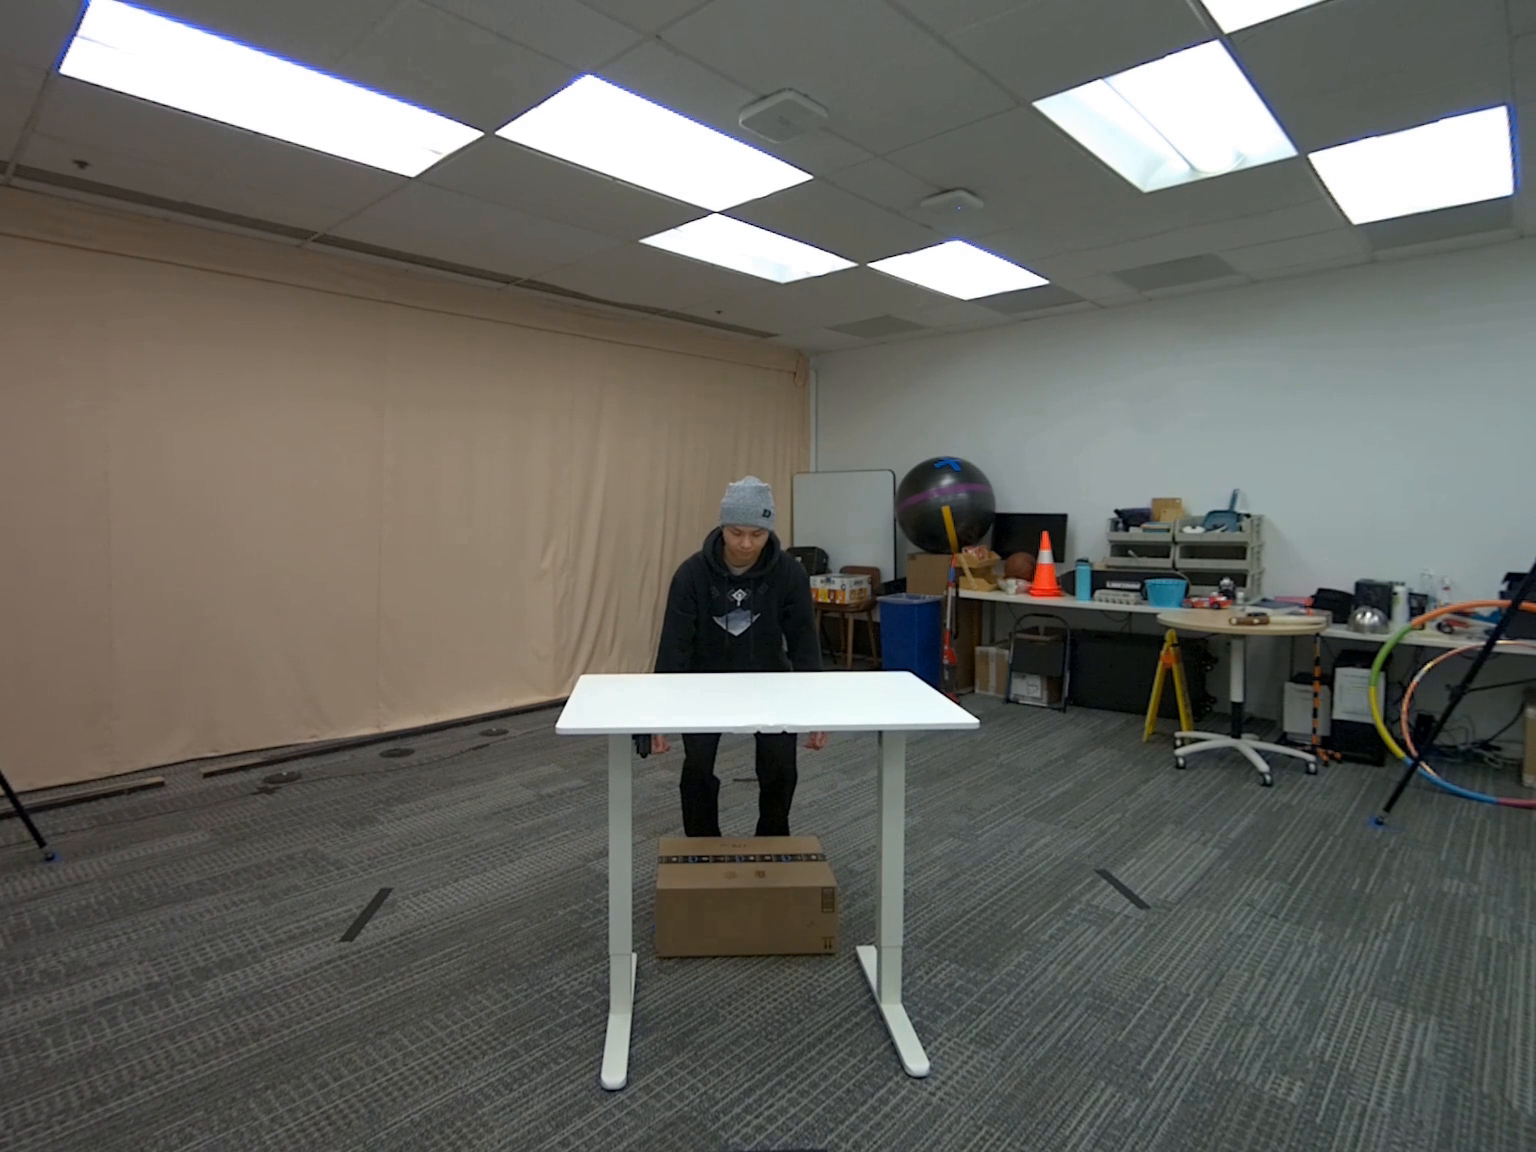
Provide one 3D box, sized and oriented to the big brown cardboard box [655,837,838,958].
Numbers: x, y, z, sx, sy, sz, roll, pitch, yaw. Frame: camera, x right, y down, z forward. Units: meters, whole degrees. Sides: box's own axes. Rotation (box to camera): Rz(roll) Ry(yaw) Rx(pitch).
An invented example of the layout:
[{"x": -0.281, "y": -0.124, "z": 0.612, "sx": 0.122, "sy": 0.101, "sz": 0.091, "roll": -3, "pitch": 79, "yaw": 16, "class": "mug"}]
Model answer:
[{"x": -0.088, "y": 1.047, "z": 2.794, "sx": 0.587, "sy": 0.233, "sz": 0.420, "roll": -1, "pitch": 4, "yaw": -3, "class": "big brown cardboard box"}]
